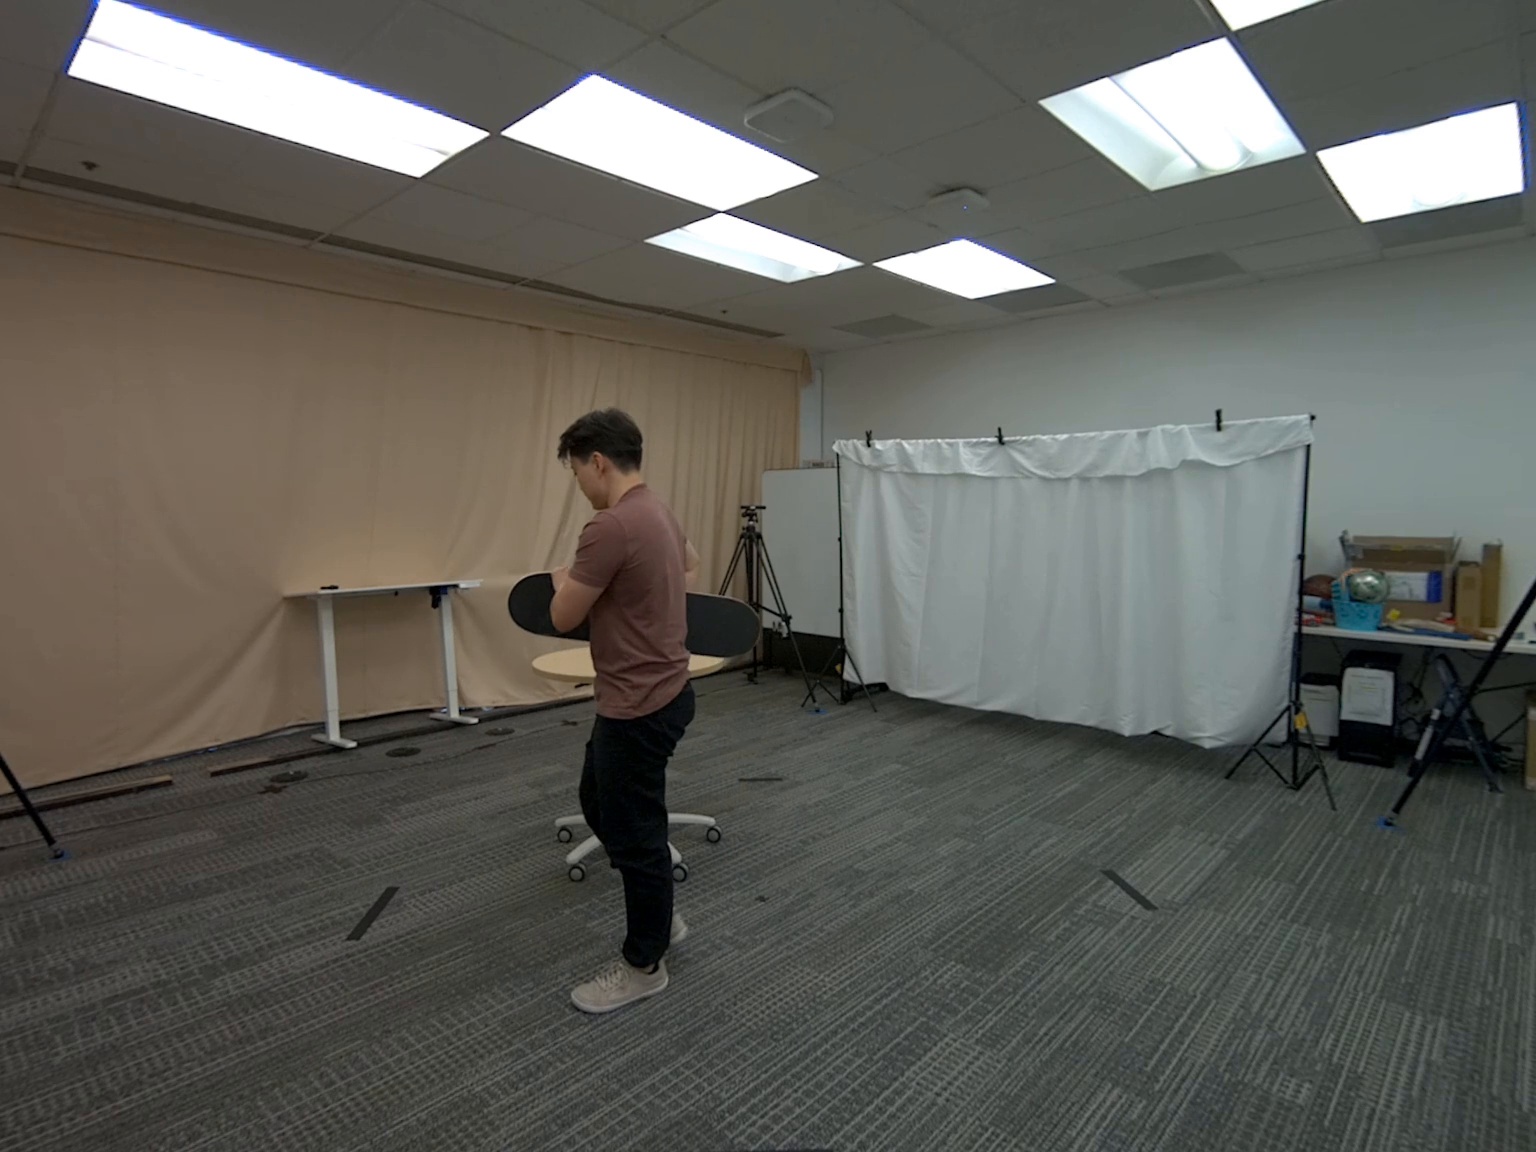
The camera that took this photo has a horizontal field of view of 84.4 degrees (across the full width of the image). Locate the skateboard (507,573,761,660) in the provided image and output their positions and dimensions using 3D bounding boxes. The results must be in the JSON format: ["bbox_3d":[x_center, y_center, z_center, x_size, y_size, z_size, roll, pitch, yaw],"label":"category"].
[{"bbox_3d":[-0.417,0.129,2.623,0.774,0.193,0.112,9,-1,-13],"label":"skateboard"}]
